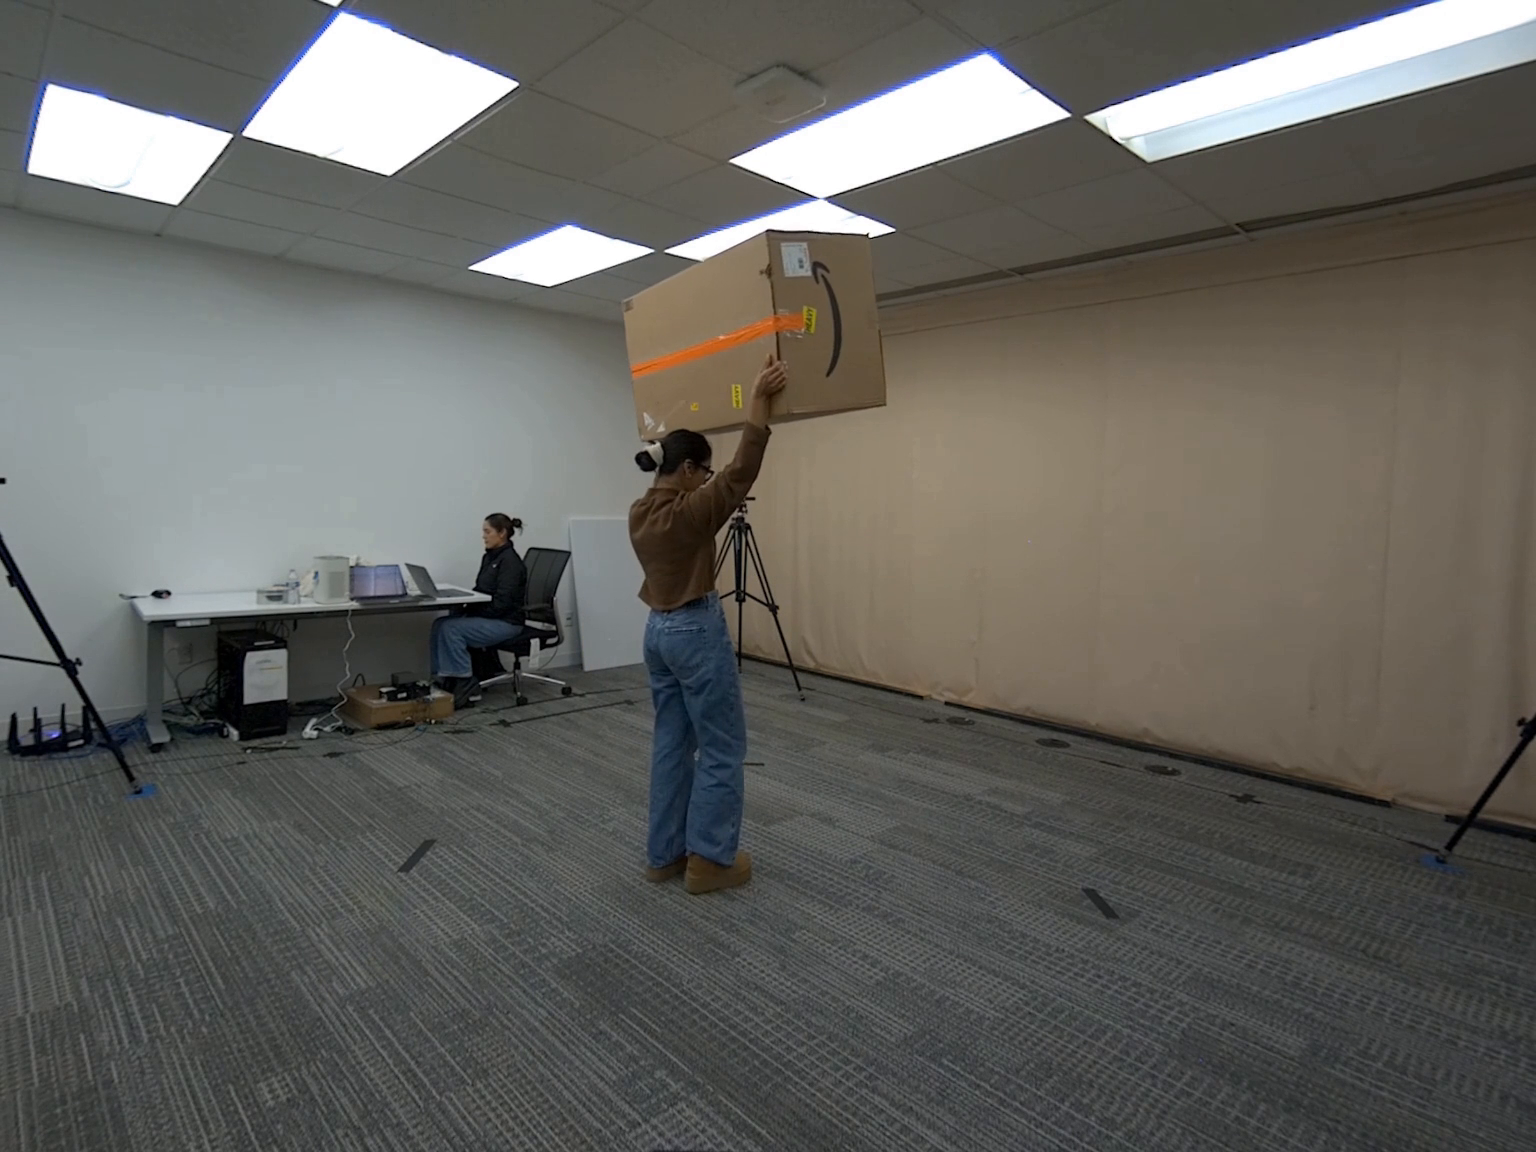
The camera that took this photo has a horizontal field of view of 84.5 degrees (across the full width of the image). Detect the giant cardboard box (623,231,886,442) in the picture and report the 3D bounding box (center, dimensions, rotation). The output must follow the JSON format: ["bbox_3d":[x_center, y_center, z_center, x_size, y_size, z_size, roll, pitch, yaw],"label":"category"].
[{"bbox_3d":[-0.104,-0.842,3.132,0.419,0.574,1.049,-11,9,-33],"label":"giant cardboard box"}]
